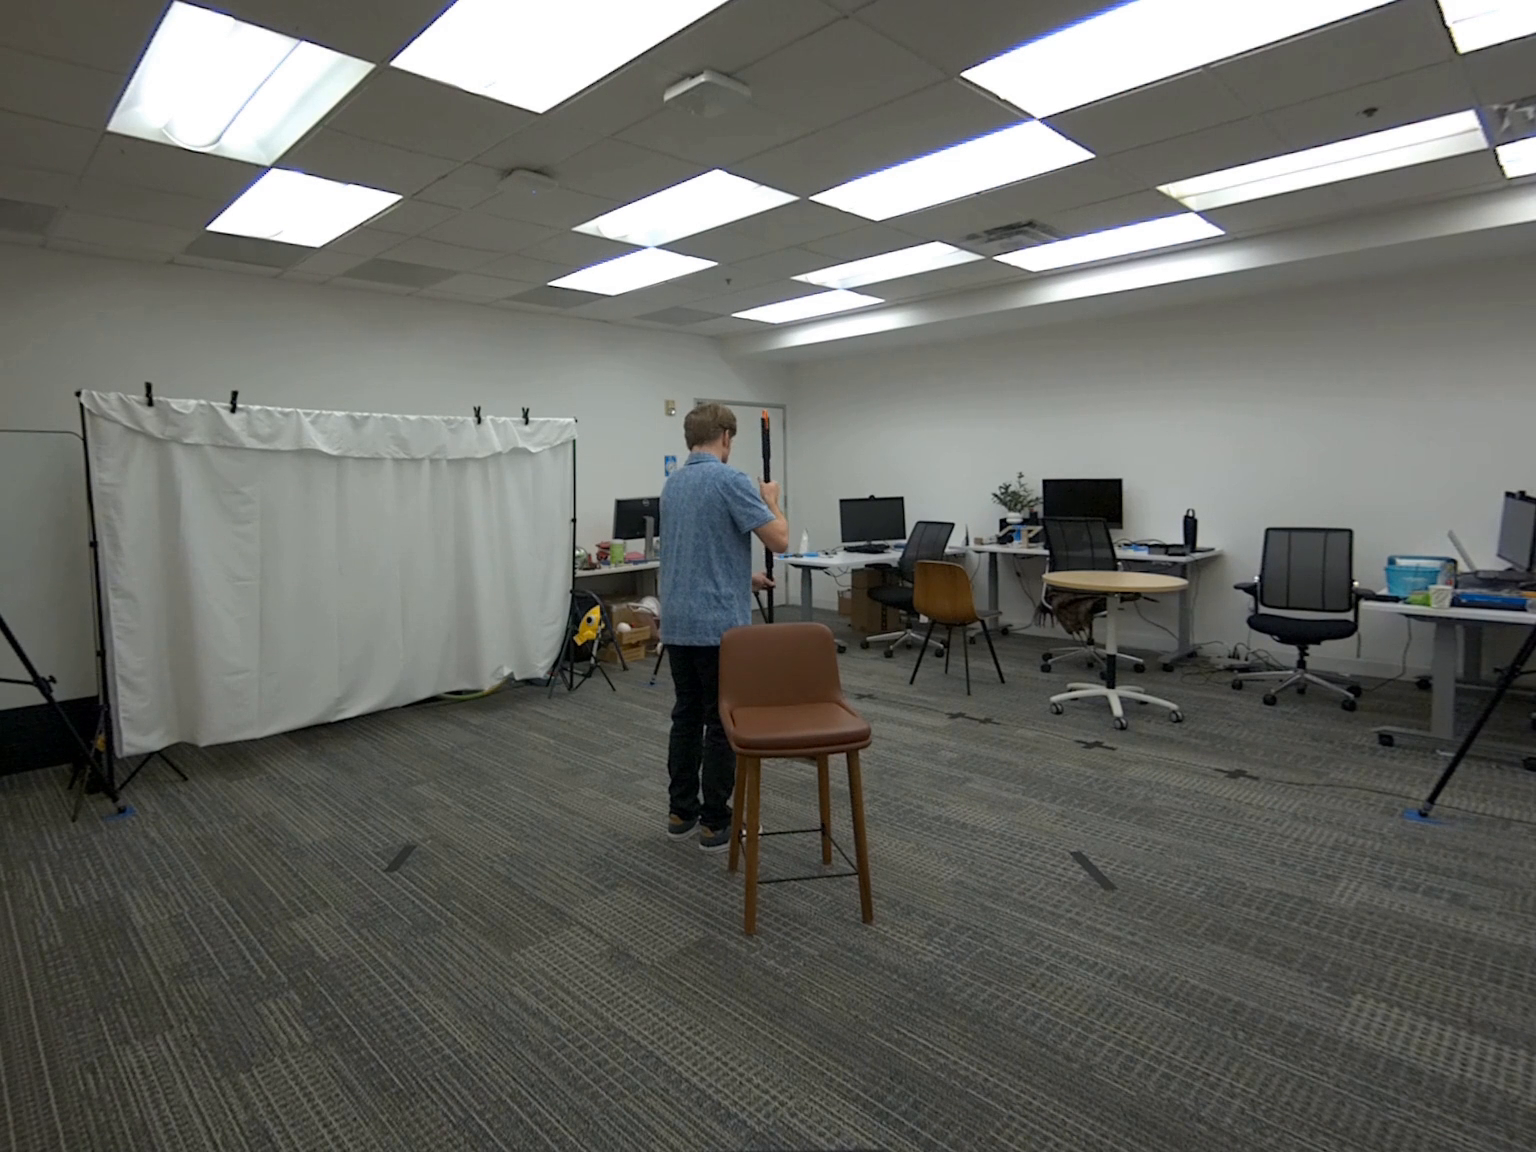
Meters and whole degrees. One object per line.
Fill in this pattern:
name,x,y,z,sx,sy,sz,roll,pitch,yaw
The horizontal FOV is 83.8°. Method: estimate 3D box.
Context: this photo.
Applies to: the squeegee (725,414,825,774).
squeegee,0.017,0.096,3.580,0.449,1.511,0.052,9,22,27
